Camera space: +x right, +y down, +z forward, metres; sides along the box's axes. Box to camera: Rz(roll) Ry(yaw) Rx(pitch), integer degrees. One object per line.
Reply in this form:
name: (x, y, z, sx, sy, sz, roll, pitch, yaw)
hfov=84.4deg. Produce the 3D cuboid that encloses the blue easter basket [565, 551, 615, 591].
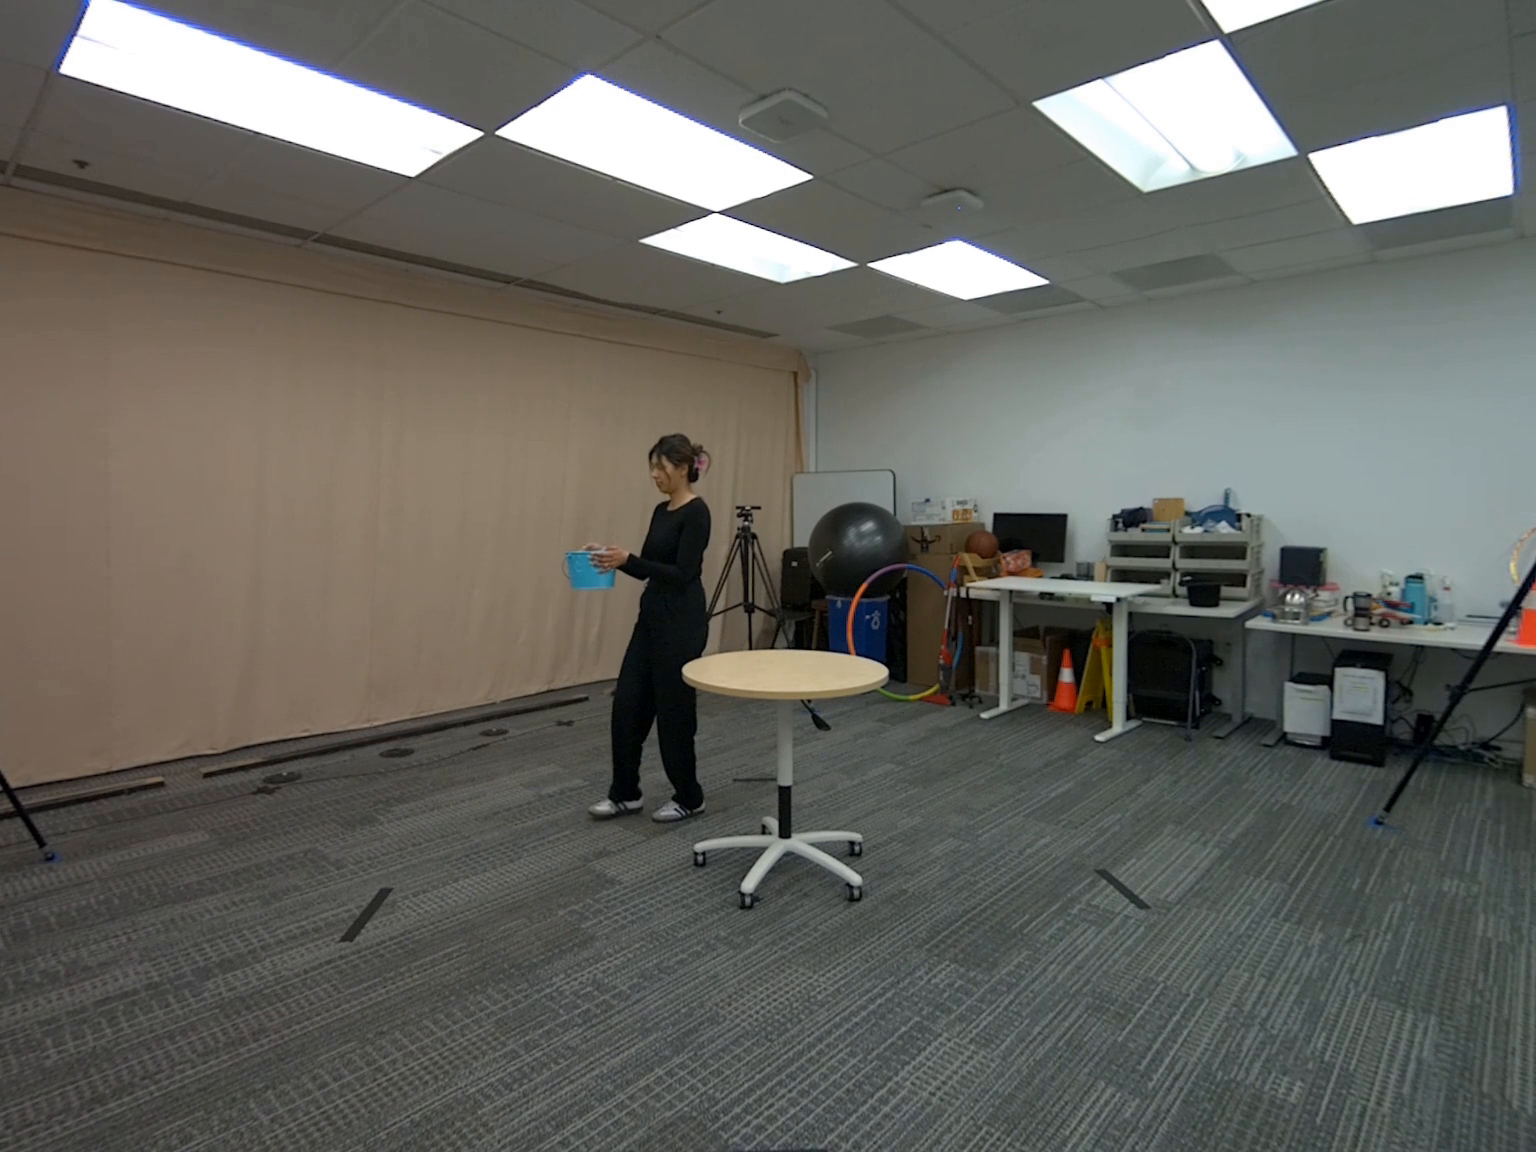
blue easter basket: (-0.738, -0.024, 3.571, 0.243, 0.155, 0.244, -1, 3, -2)
